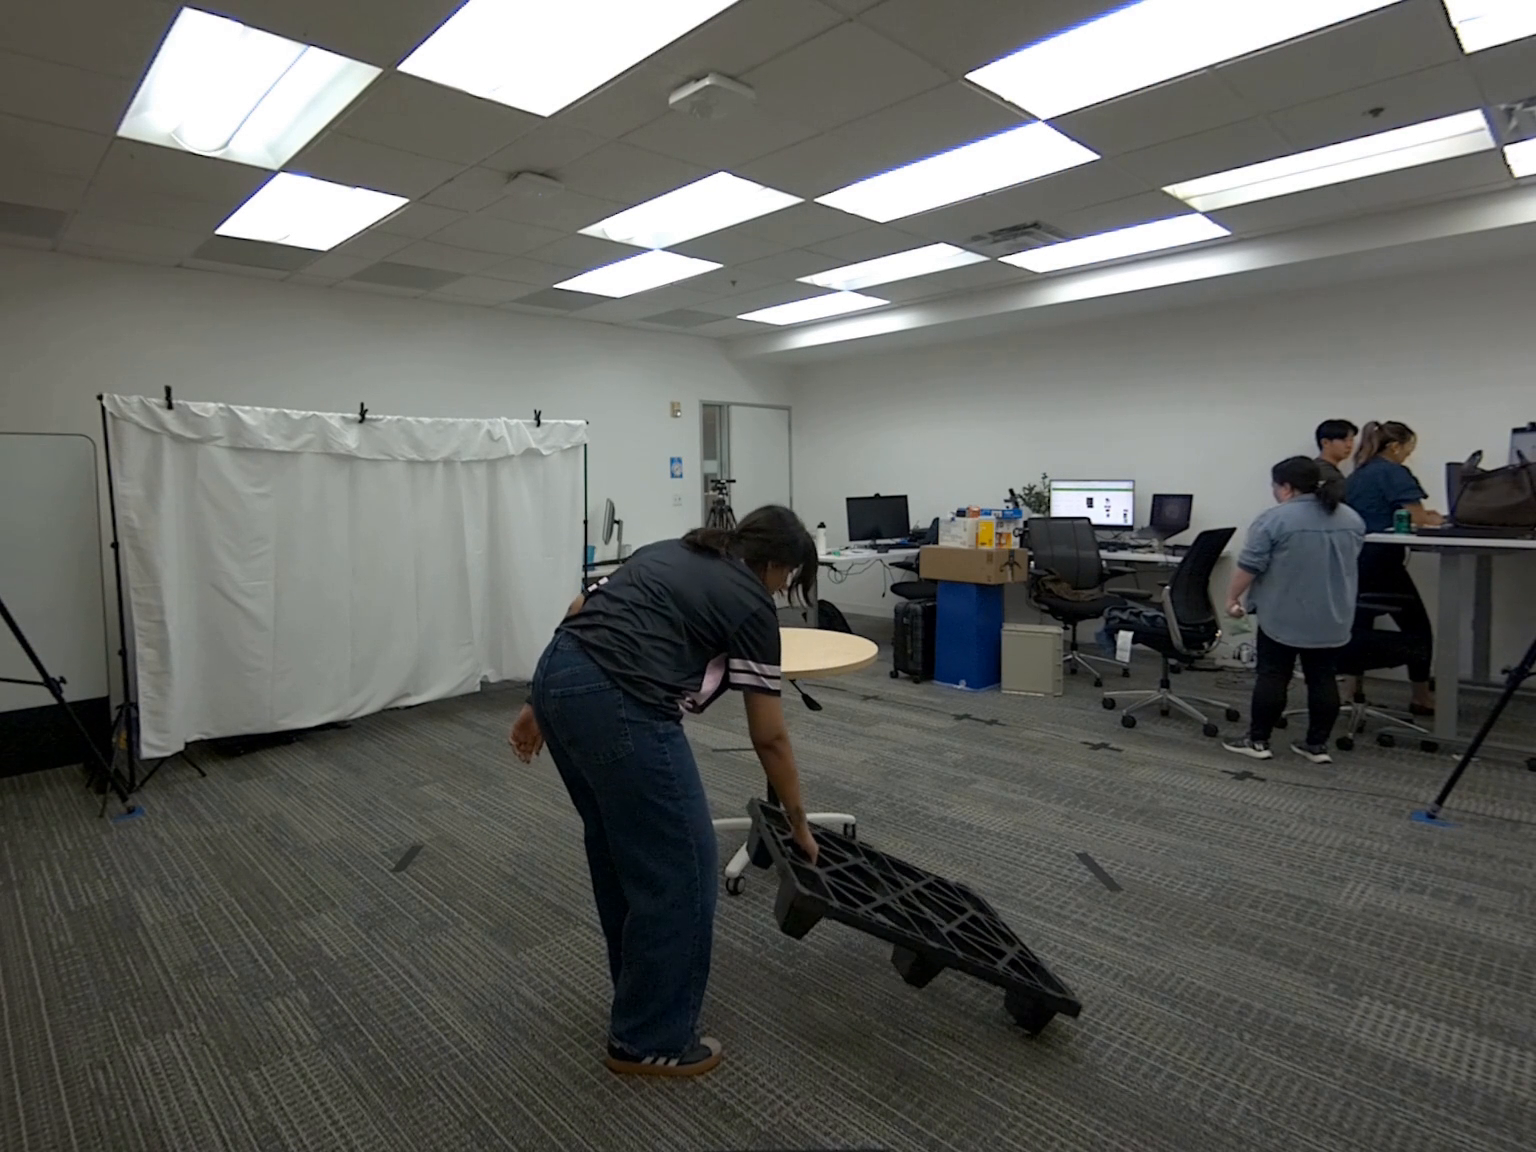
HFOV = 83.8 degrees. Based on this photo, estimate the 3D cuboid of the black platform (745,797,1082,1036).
[{"bbox_3d":[0.334,0.903,2.308,0.795,0.143,0.613,26,-1,-11],"label":"black platform"}]
